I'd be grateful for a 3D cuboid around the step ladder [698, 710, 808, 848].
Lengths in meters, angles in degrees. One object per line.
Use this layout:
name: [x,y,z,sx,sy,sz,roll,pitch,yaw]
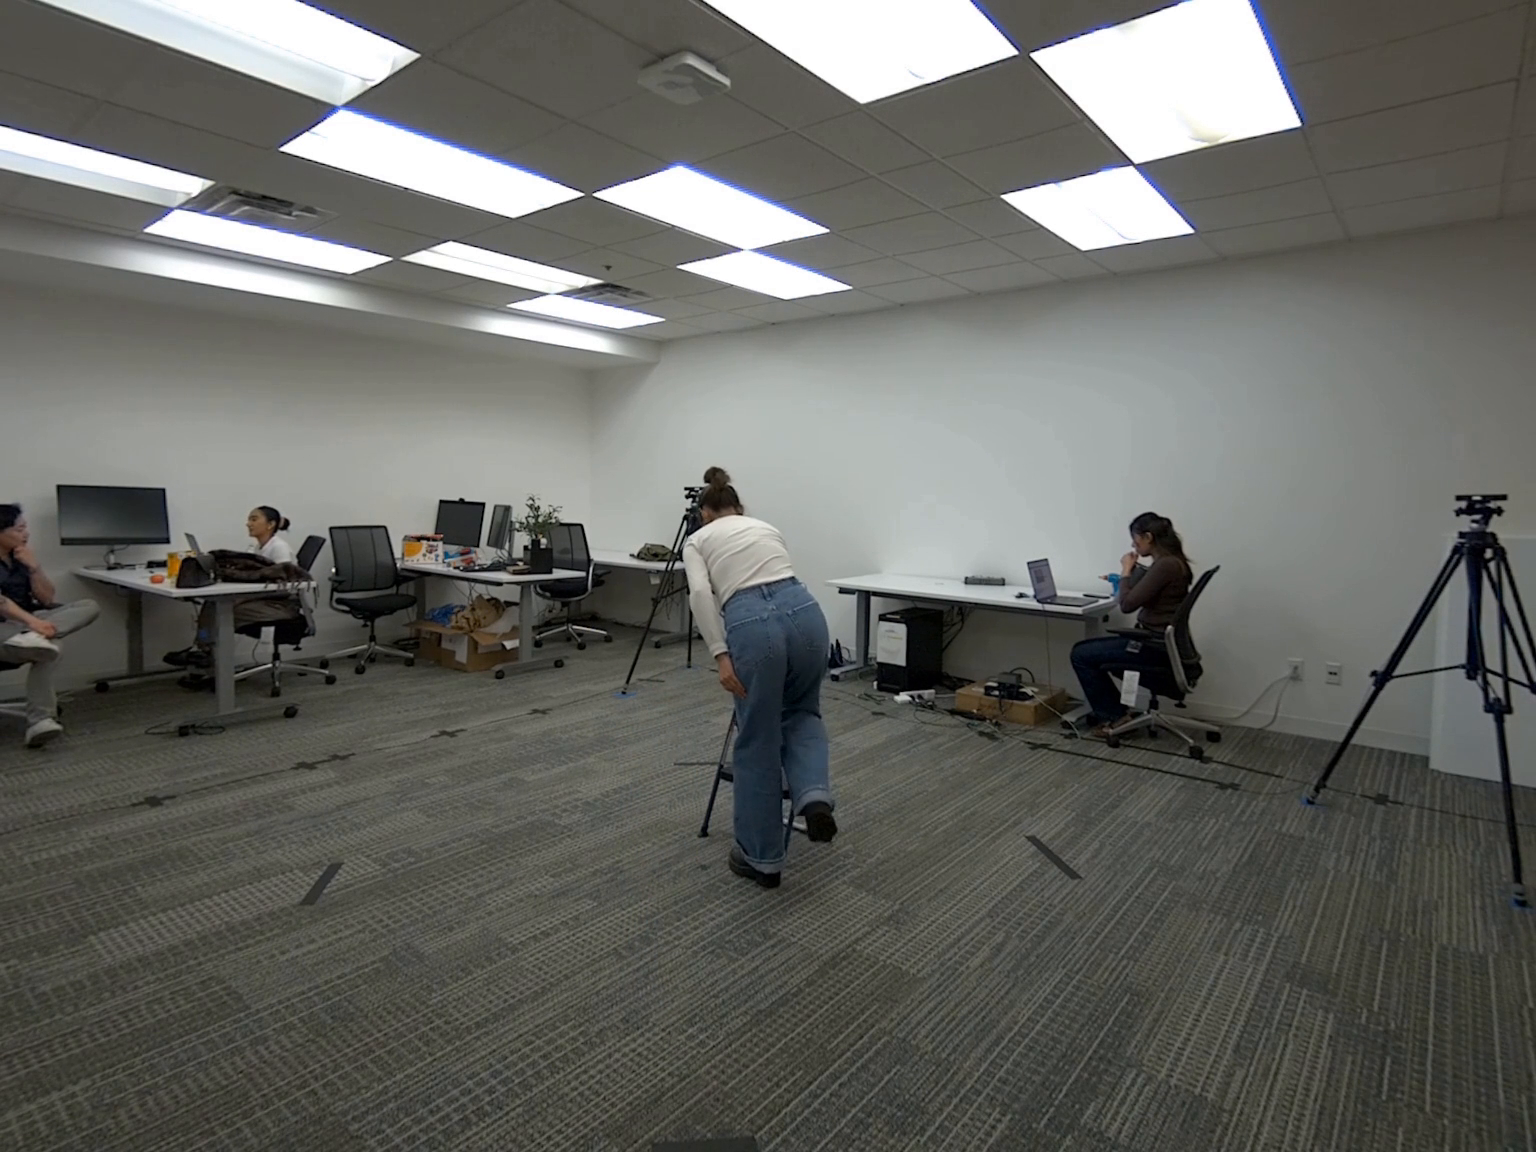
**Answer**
step ladder: [-0.007,0.735,3.372,0.445,0.604,0.339,3,4,40]
